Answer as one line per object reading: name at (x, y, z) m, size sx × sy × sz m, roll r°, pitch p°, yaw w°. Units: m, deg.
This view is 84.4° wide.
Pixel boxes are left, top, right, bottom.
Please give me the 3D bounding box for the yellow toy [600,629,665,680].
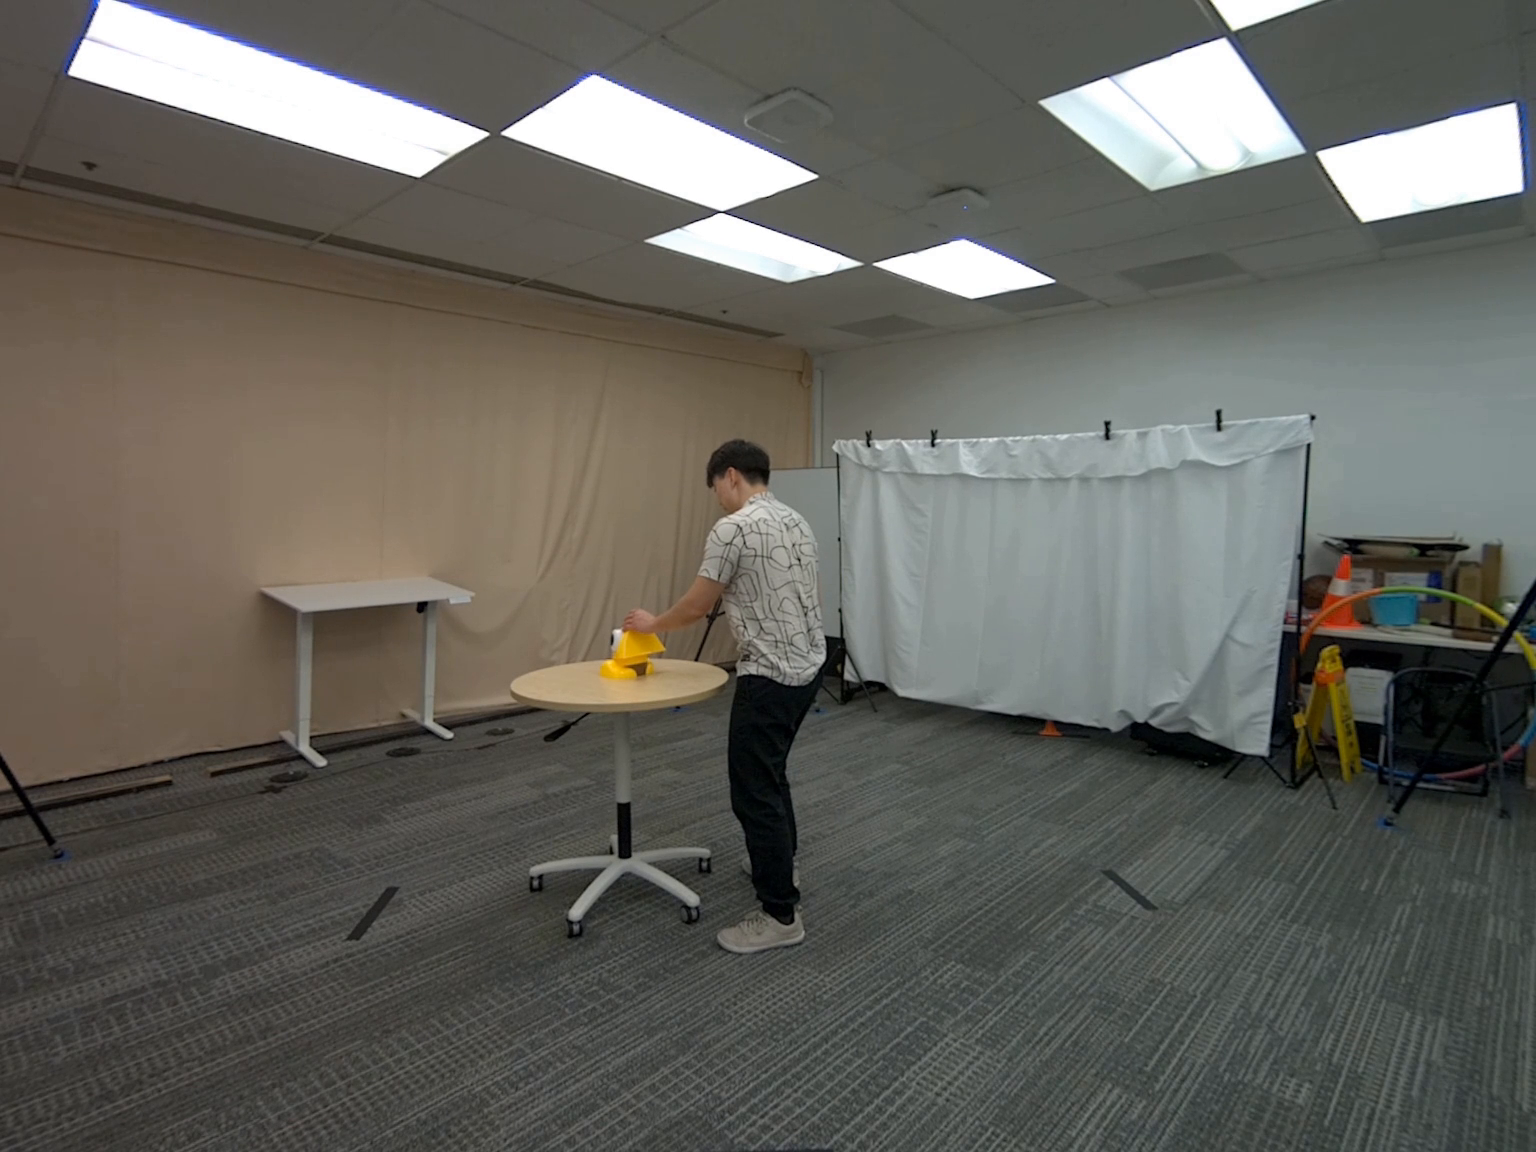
yellow toy at (-0.511, 0.246, 3.074) m, size 0.199 × 0.230 × 0.198 m, roll 2°, pitch 4°, yaw 40°
